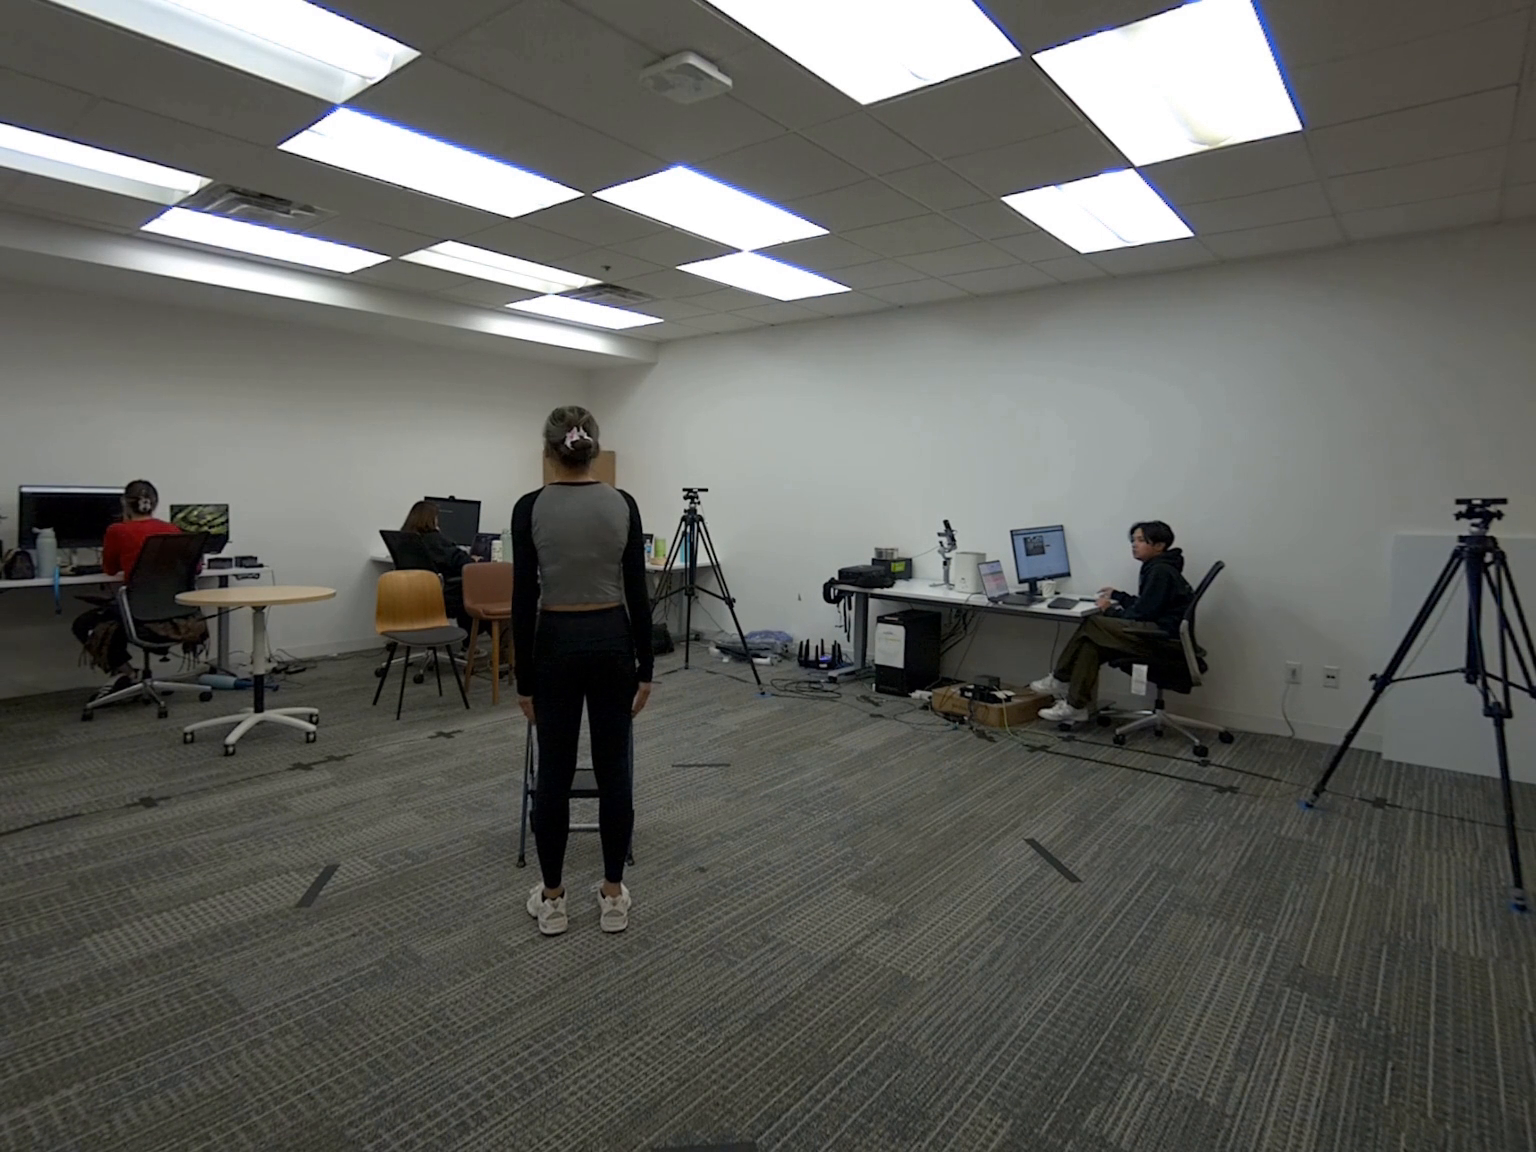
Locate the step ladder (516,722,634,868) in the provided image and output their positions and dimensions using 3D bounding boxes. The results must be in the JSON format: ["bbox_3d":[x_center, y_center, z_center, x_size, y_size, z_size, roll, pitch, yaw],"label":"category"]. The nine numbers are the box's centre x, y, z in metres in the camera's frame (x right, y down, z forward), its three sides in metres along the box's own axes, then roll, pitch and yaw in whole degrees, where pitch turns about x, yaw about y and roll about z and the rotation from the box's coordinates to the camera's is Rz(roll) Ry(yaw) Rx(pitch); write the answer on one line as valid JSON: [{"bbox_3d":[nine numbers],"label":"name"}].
[{"bbox_3d":[-0.732,0.742,3.271,0.428,0.604,0.353,0,3,-7],"label":"step ladder"}]
